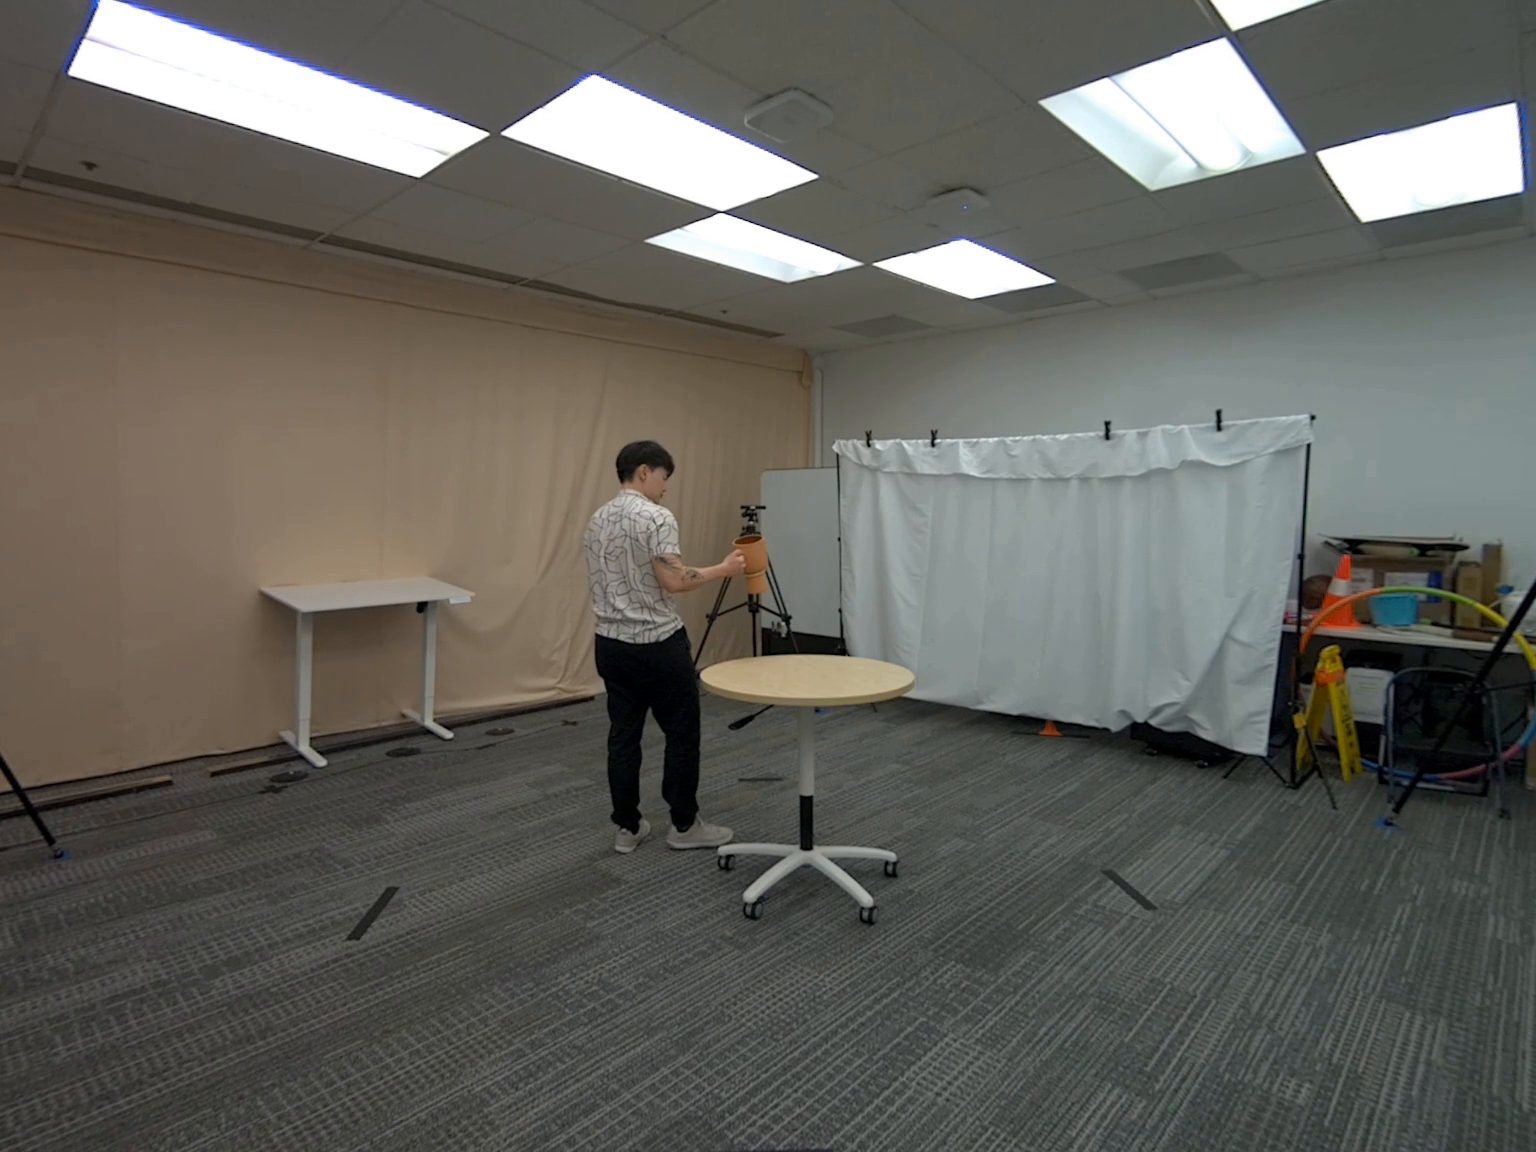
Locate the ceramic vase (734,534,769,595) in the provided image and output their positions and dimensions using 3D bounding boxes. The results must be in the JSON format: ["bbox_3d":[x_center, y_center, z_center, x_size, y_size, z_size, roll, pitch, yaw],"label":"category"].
[{"bbox_3d":[-0.063,-0.044,3.471,0.156,0.217,0.138,-13,18,-17],"label":"ceramic vase"}]
